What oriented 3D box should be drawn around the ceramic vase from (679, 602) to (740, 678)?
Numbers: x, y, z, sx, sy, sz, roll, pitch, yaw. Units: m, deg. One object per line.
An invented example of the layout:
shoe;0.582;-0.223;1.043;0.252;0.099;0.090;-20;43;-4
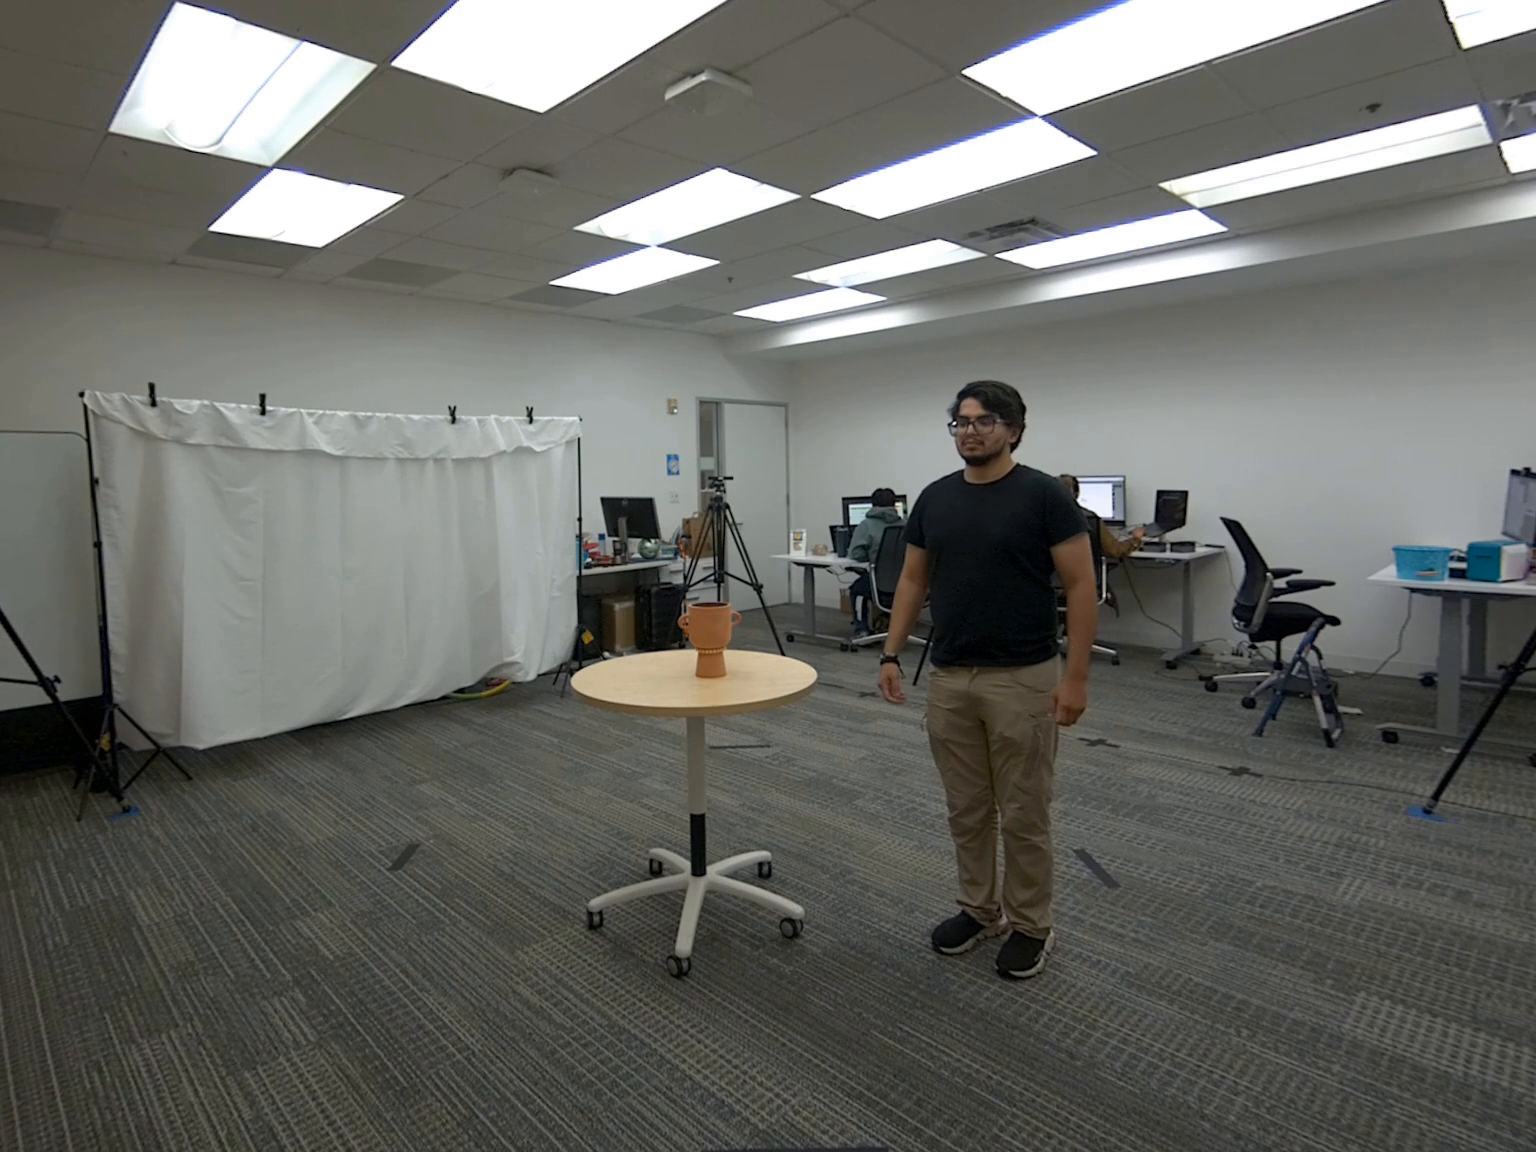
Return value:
ceramic vase;-0.177;0.200;2.660;0.162;0.219;0.132;1;4;26
